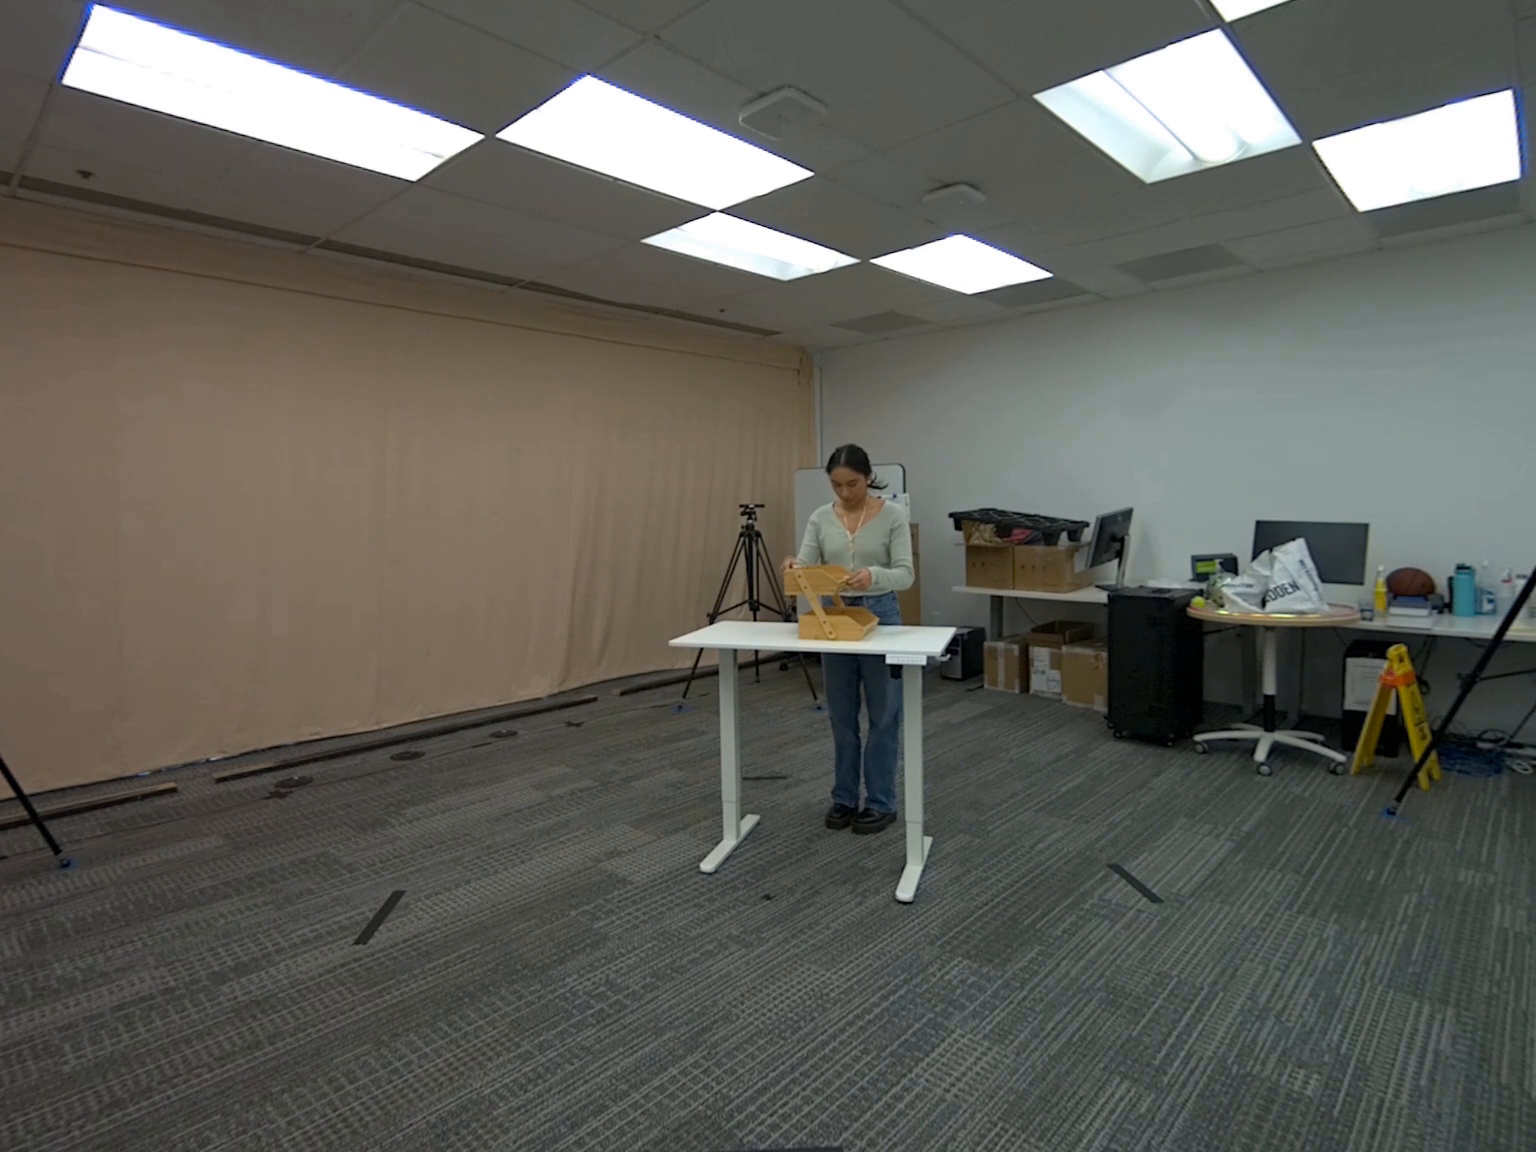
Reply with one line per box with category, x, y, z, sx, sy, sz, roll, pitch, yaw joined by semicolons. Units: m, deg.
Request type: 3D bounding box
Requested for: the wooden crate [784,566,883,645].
wooden crate;0.256;0.095;3.256;0.308;0.272;0.319;-1;4;18
